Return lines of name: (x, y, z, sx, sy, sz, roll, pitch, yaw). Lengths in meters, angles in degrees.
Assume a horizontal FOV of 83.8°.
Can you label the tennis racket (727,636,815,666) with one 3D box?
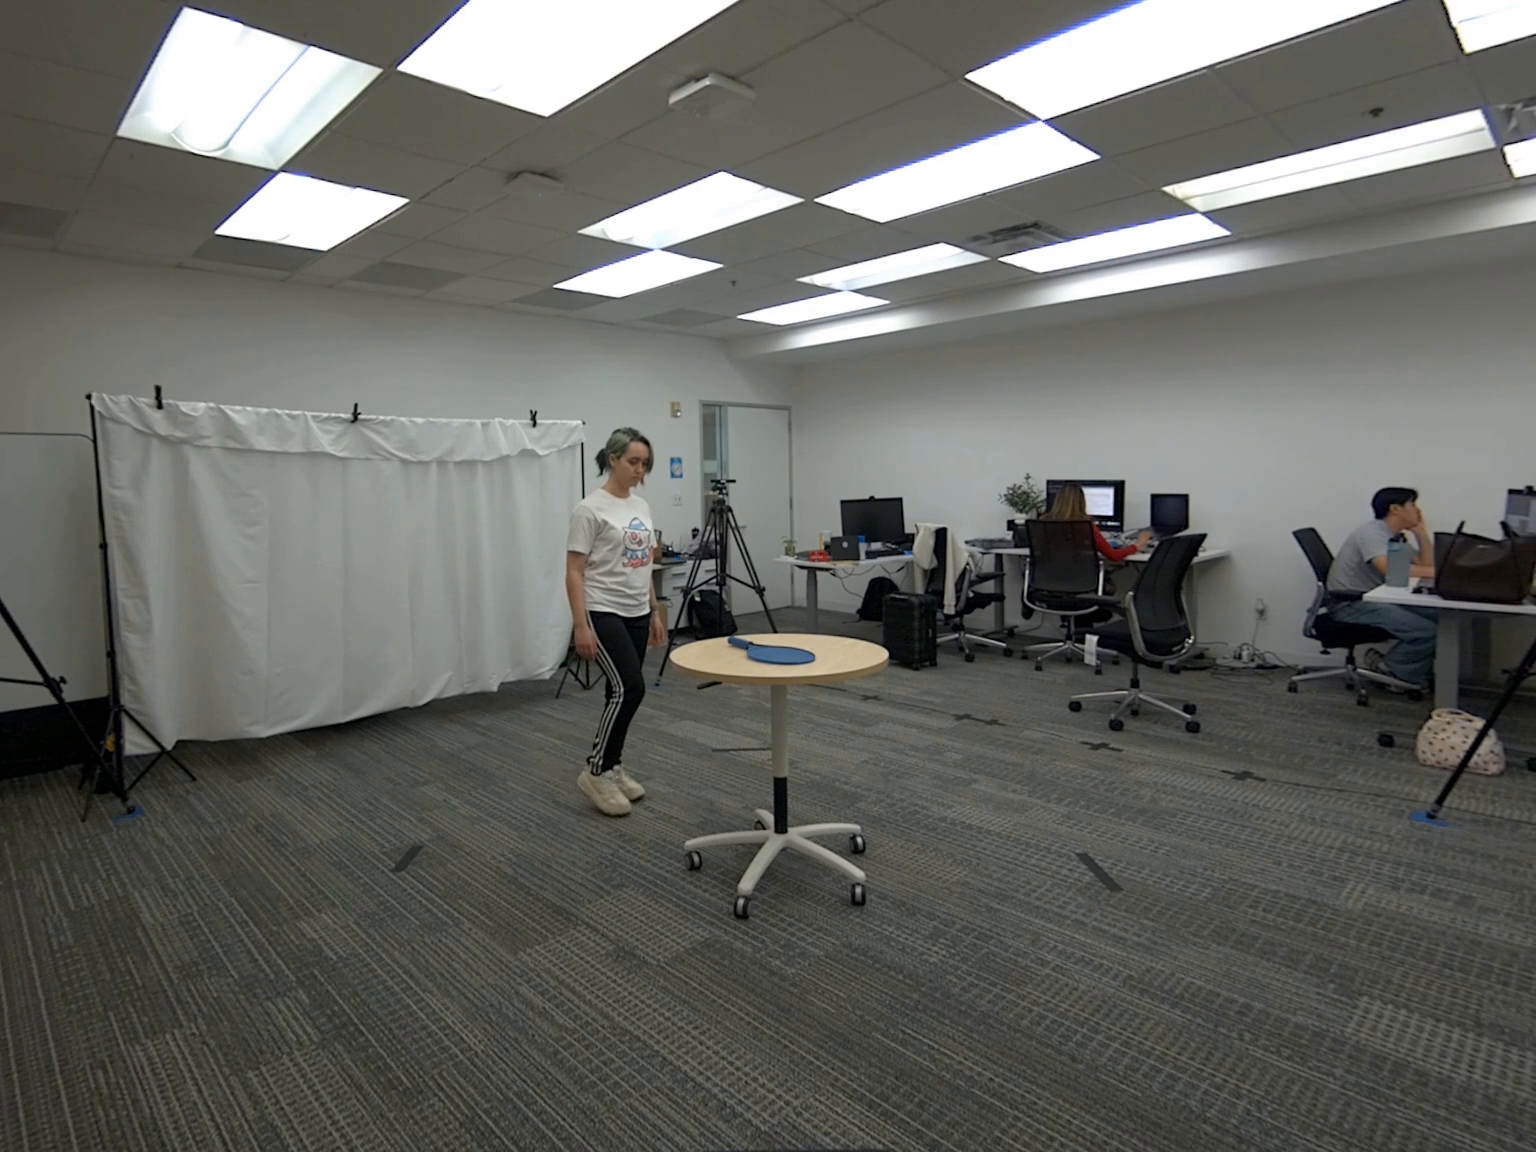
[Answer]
tennis racket: (-0.006, 0.267, 2.994, 0.208, 0.031, 0.446, -3, 8, -32)
